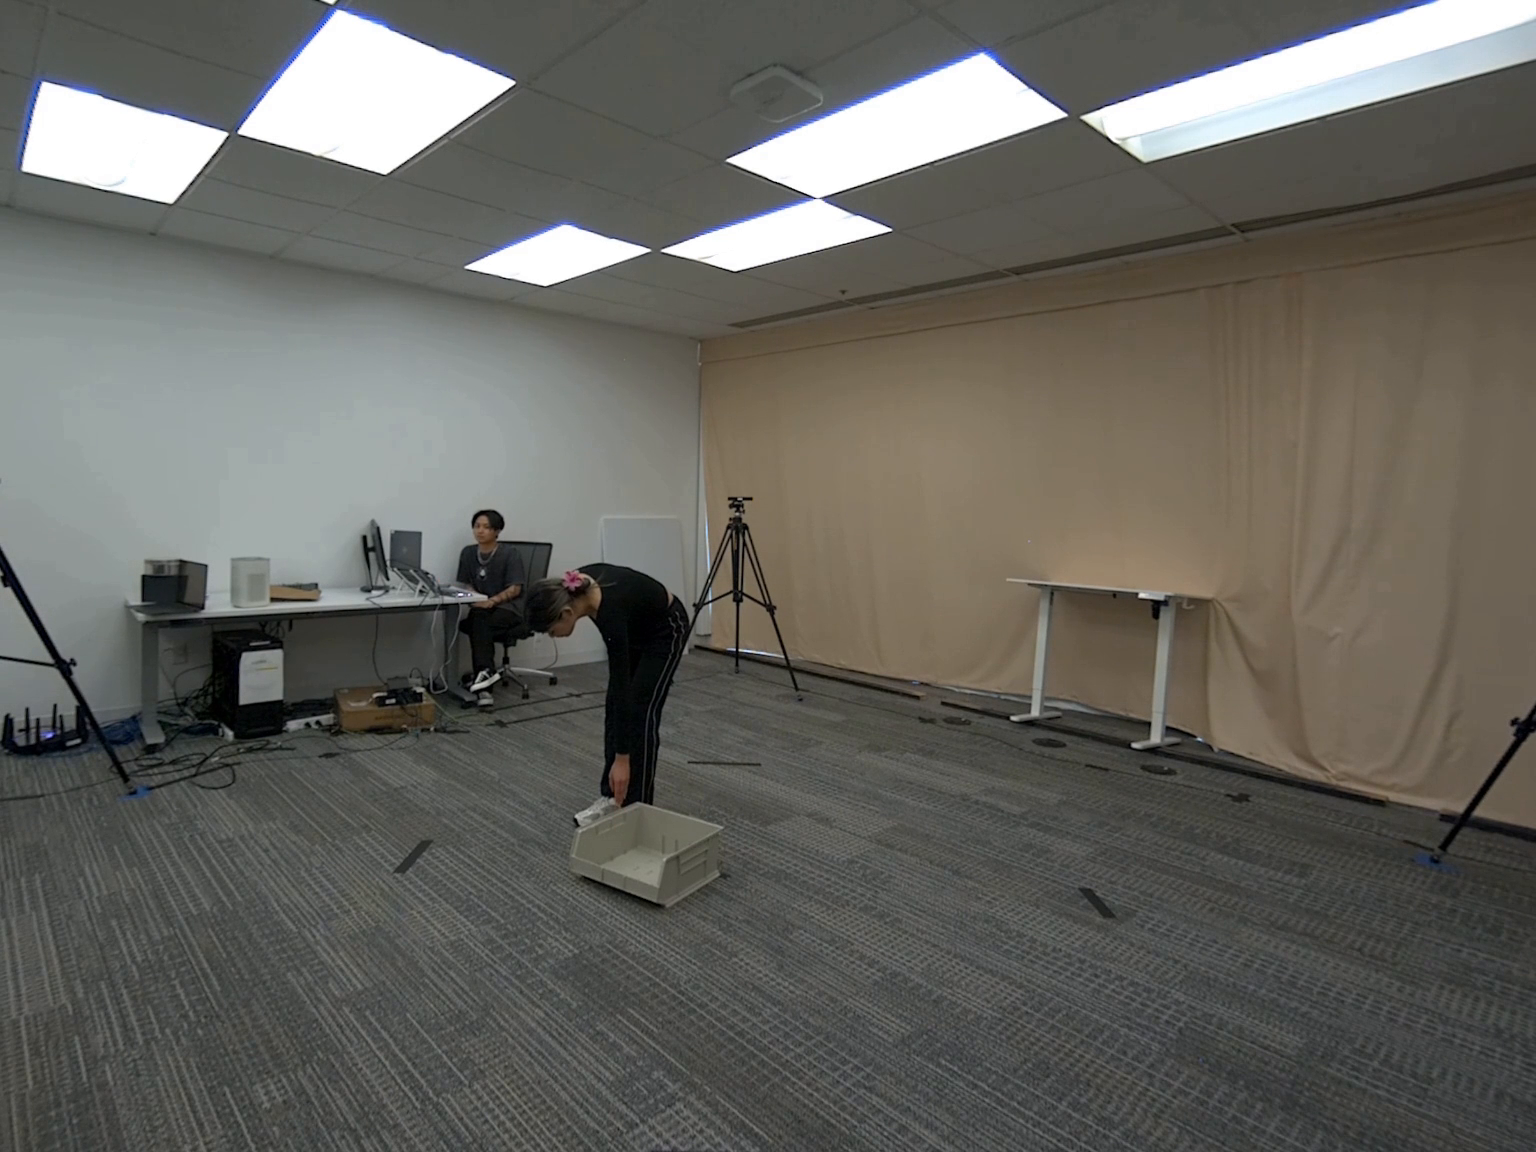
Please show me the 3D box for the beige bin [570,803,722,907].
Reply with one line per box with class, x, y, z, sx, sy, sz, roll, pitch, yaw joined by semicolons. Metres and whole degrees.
beige bin;-0.445;1.018;3.073;0.432;0.188;0.369;4;4;33
